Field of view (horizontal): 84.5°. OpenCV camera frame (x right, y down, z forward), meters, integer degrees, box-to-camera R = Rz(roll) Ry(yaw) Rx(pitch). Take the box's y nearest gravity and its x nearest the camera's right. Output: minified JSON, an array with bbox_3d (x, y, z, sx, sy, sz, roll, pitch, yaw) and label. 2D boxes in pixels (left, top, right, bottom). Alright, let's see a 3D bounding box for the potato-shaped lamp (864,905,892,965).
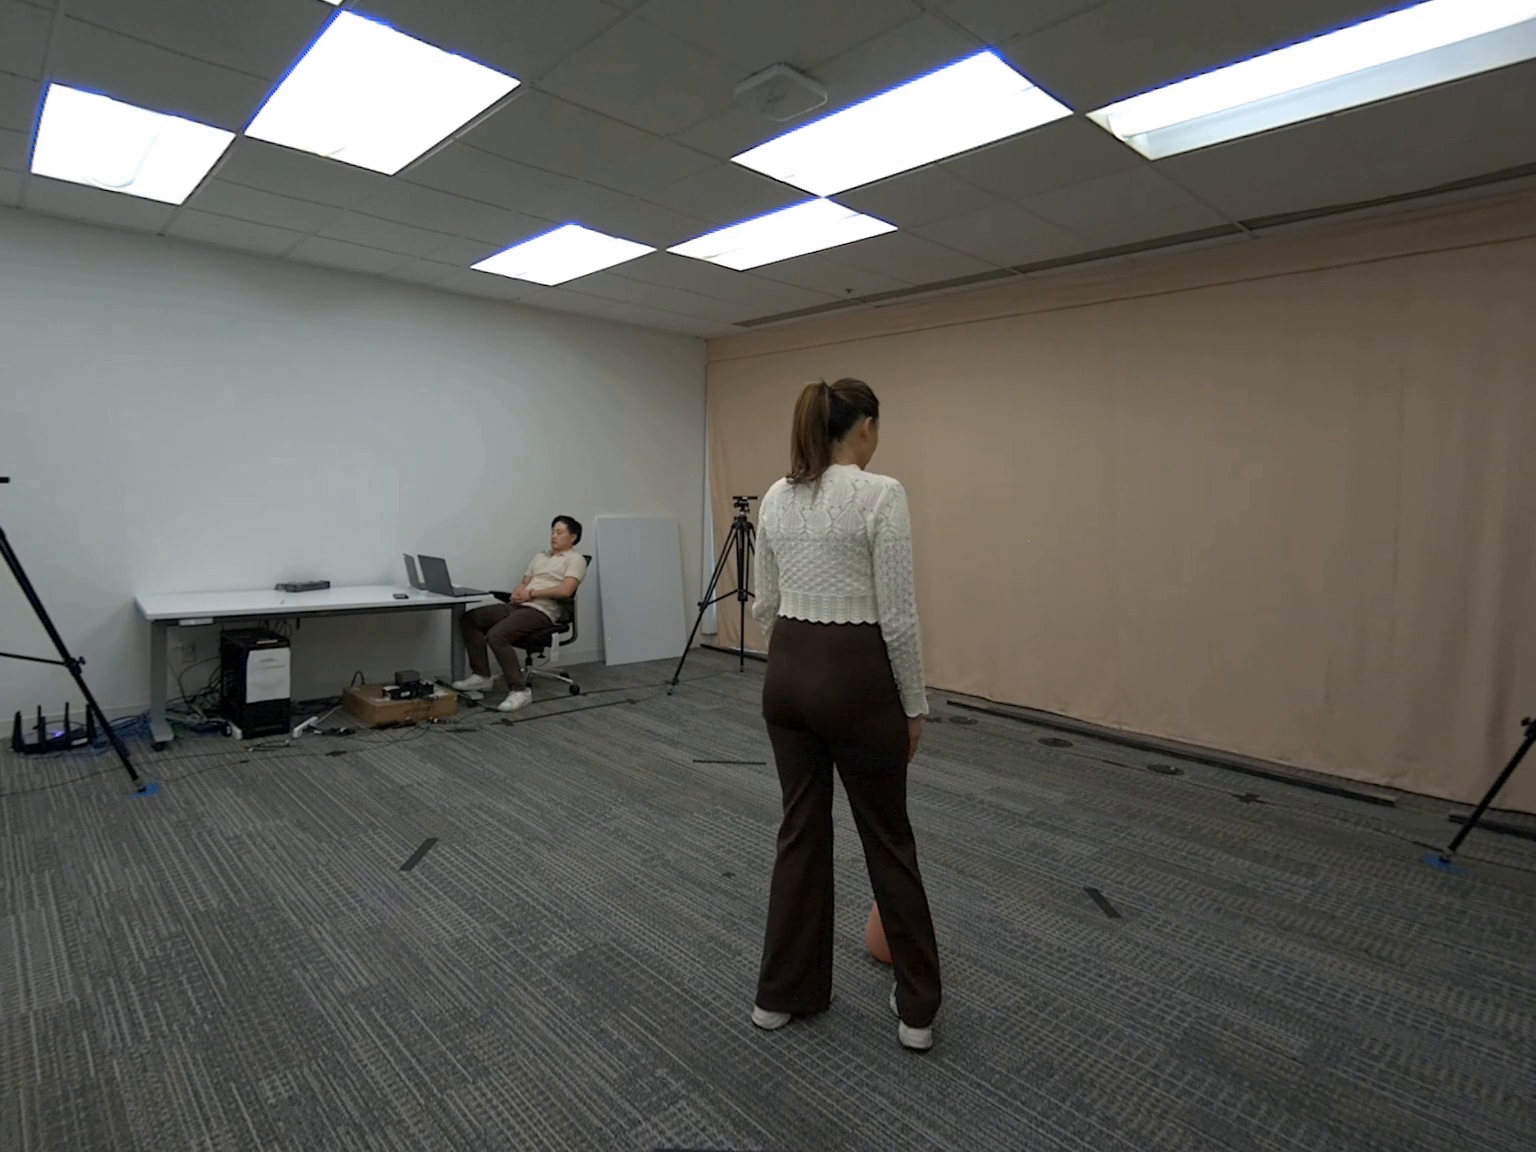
[{"bbox_3d":[0.375,1.064,2.570,0.164,0.197,0.173,1,5,-5],"label":"potato-shaped lamp"}]
